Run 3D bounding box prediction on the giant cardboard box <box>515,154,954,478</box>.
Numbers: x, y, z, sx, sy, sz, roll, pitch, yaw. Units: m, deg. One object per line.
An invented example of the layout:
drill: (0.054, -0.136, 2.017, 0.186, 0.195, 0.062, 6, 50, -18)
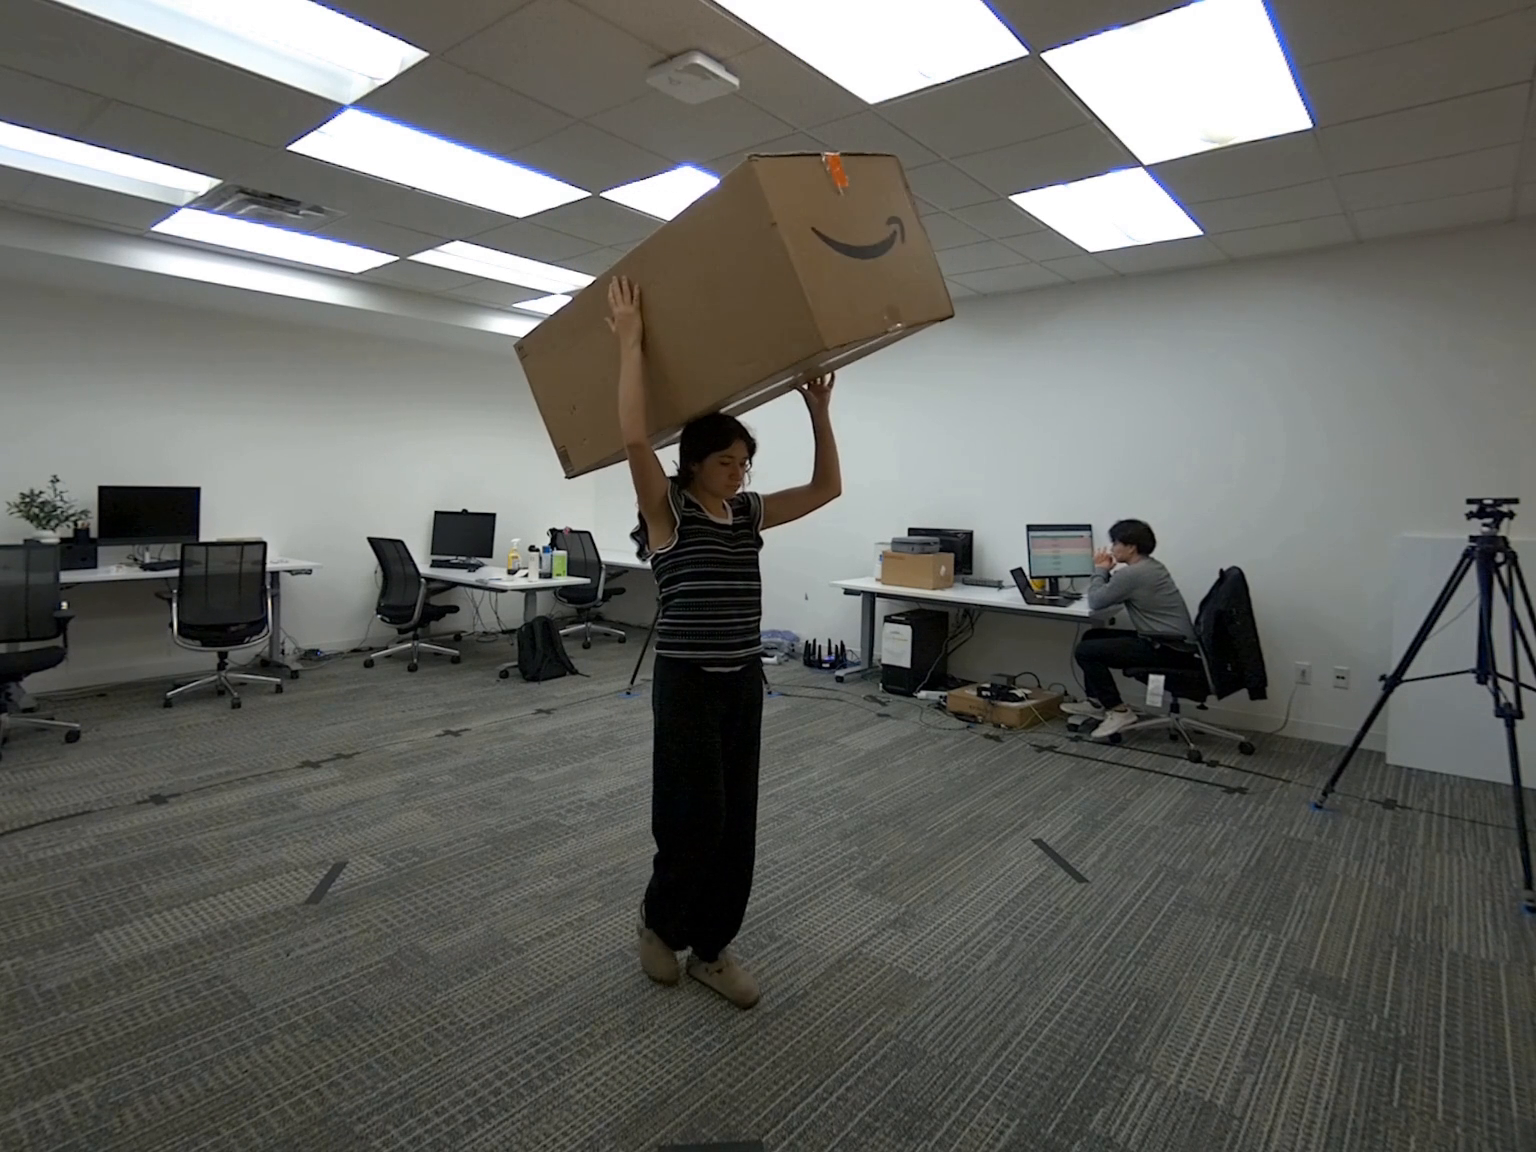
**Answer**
giant cardboard box: (-0.144, -0.659, 2.288, 1.049, 0.424, 0.568, -15, 8, 45)
